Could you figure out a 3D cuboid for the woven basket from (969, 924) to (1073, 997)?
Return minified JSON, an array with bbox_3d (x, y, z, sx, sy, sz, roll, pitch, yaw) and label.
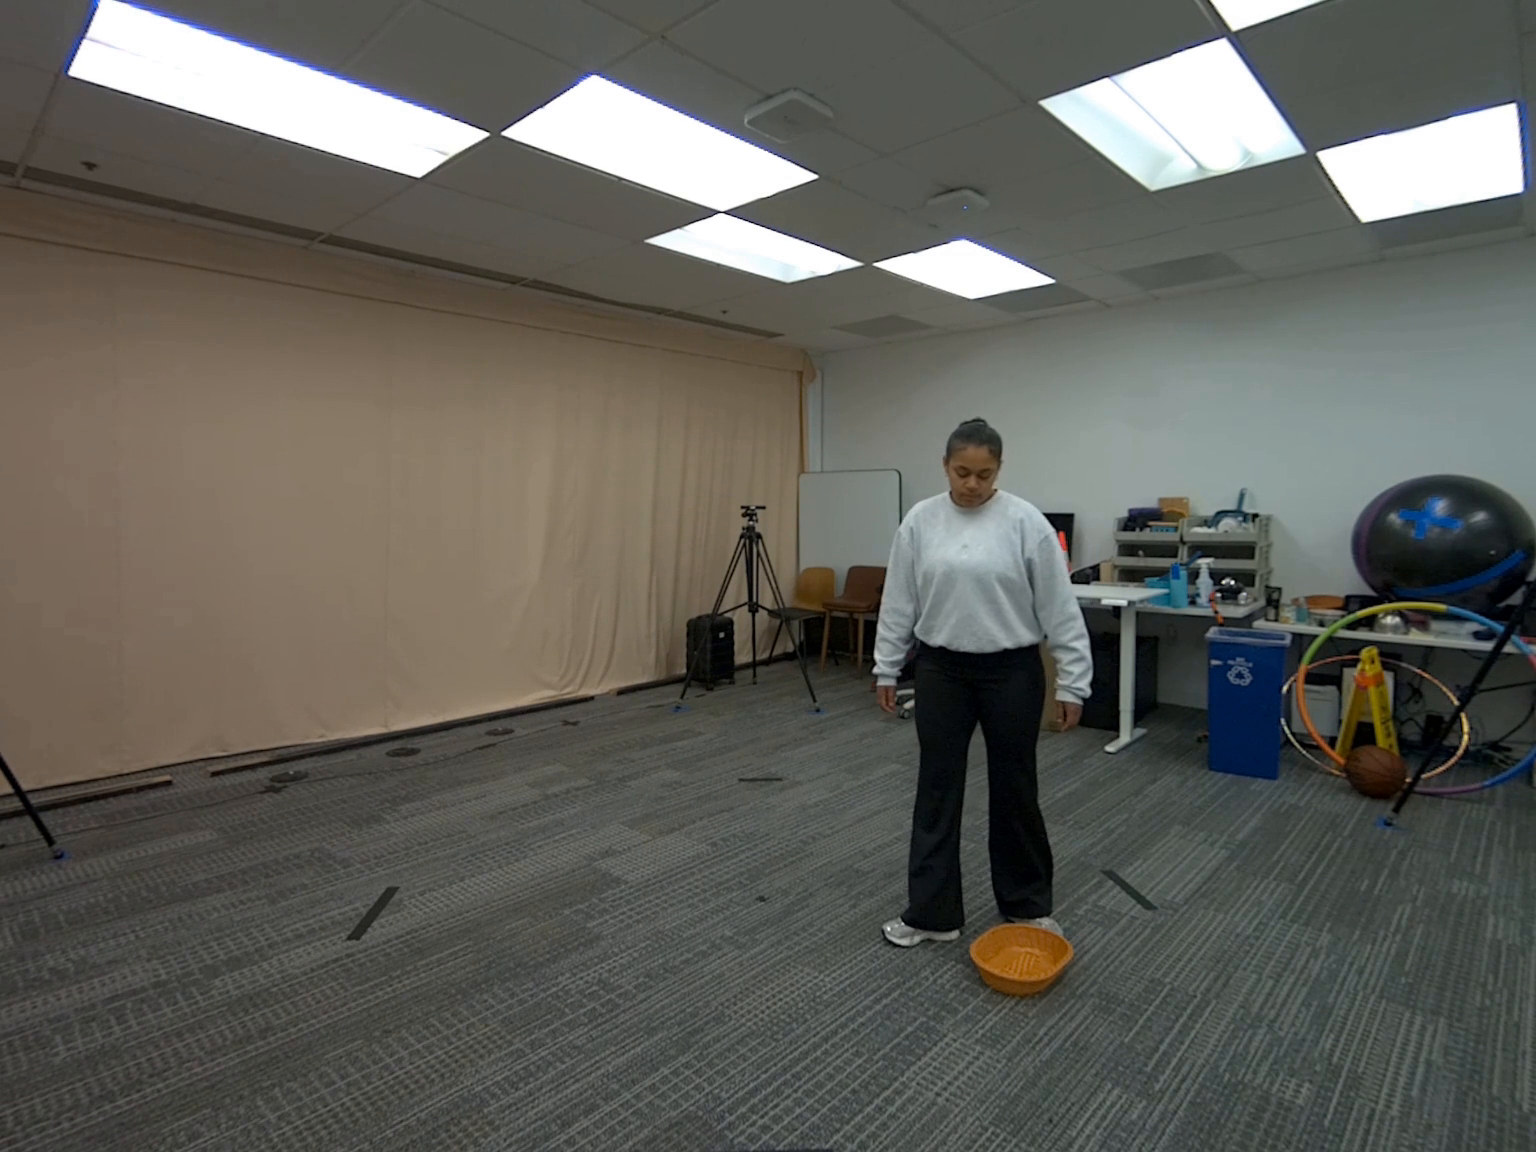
[{"bbox_3d":[0.747,1.146,2.504,0.340,0.073,0.261,-3,5,-41],"label":"woven basket"}]
